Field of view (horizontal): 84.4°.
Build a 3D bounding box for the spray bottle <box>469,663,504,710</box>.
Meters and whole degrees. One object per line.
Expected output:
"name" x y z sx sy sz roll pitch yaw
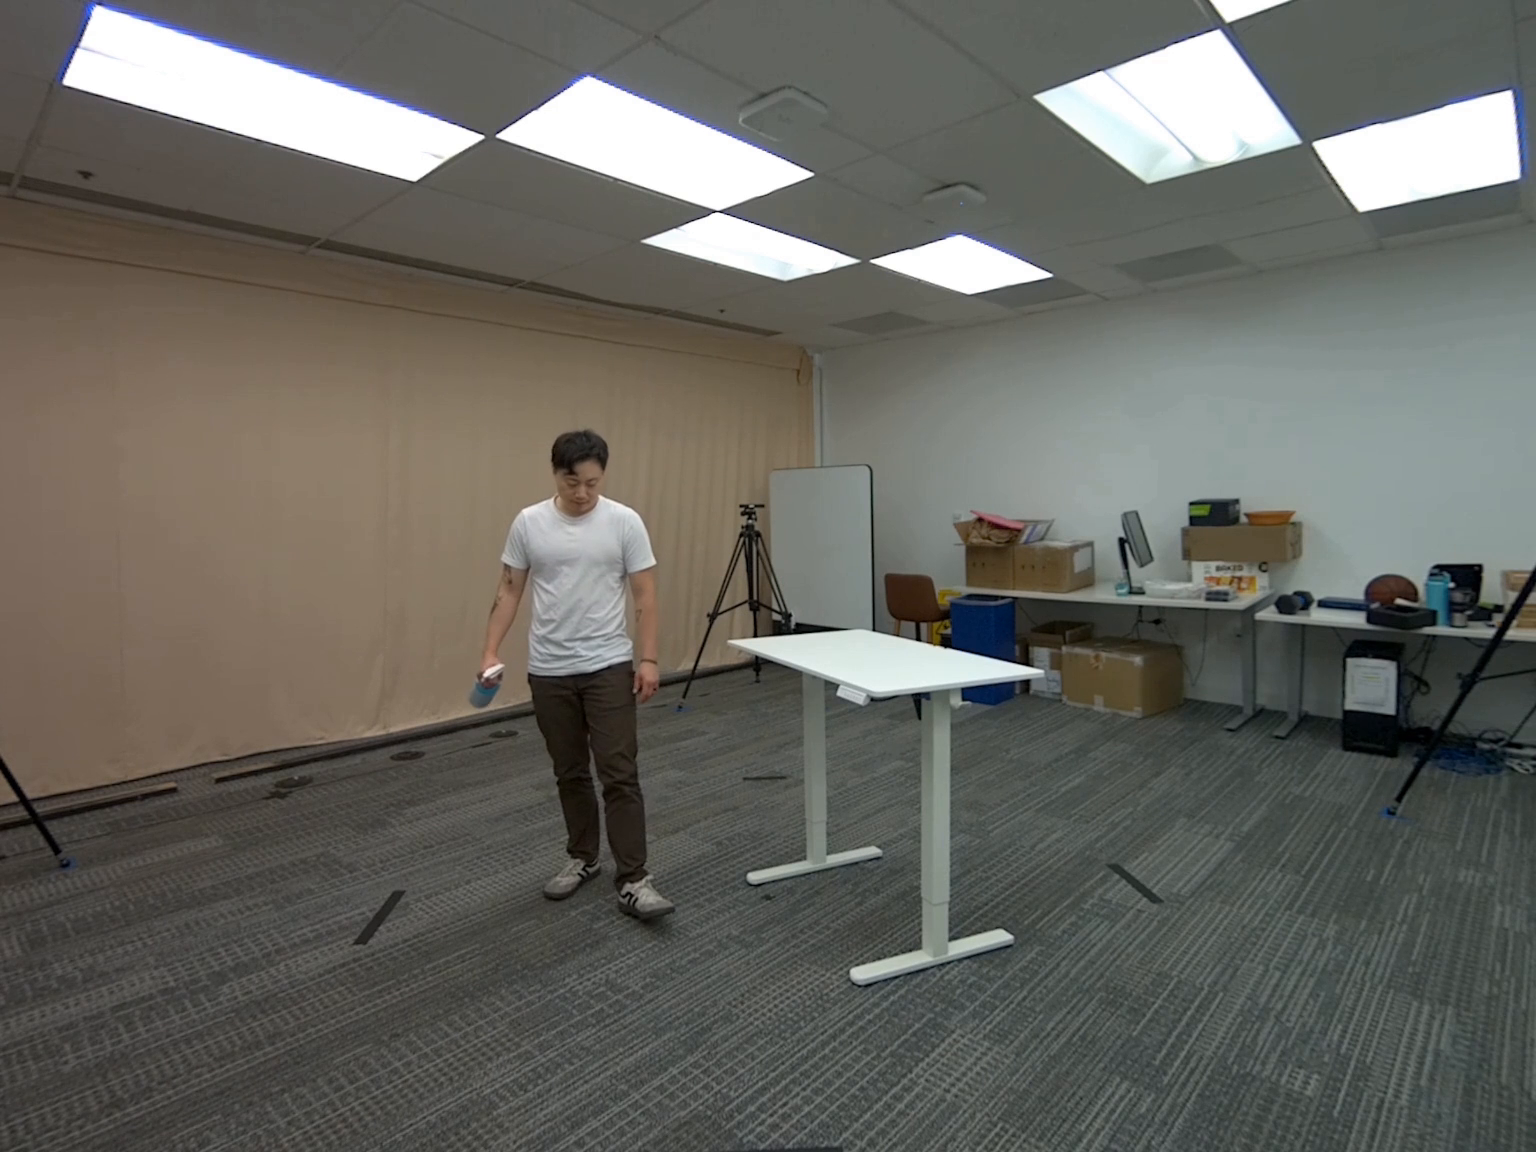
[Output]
"spray bottle" -0.995 0.386 3.000 0.087 0.089 0.299 -3 -26 -32
